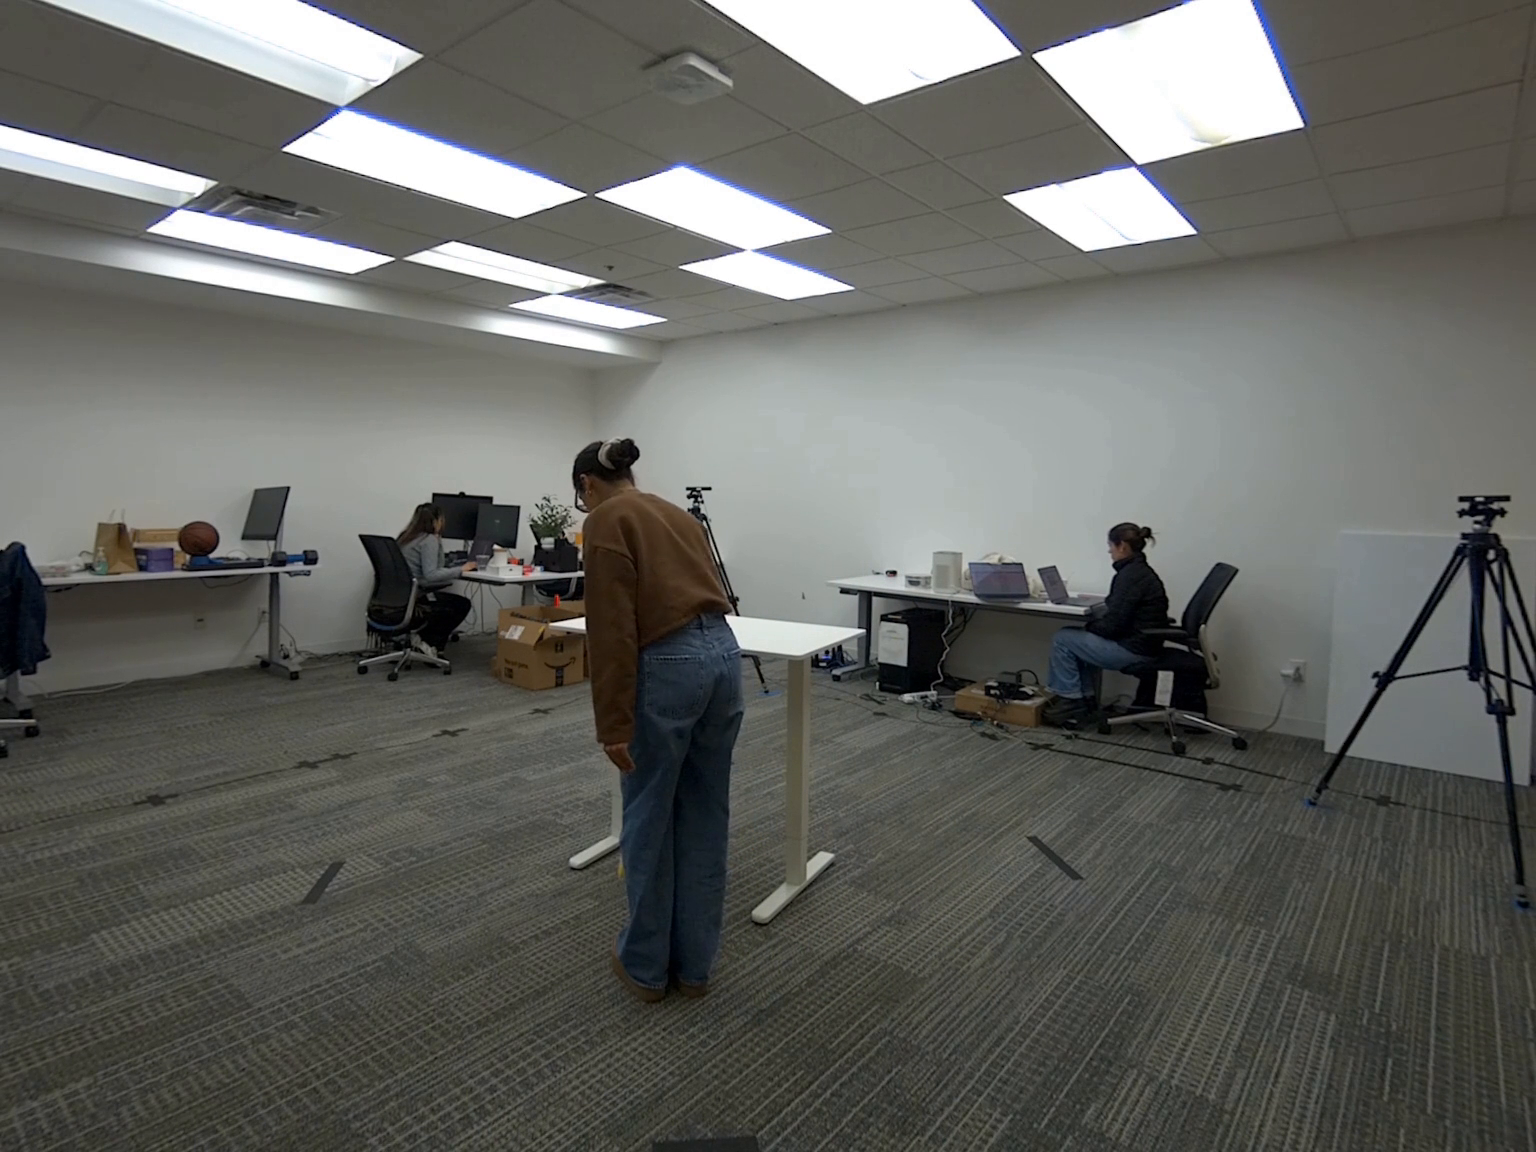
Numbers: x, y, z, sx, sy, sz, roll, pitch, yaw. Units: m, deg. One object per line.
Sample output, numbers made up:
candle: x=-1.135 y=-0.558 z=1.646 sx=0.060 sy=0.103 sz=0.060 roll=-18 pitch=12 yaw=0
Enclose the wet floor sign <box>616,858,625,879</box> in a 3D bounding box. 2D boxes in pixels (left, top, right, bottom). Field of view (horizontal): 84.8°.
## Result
wet floor sign: x=-0.345 y=0.639 z=2.770 sx=0.285 sy=0.652 sz=0.284 roll=2 pitch=-10 yaw=-16
